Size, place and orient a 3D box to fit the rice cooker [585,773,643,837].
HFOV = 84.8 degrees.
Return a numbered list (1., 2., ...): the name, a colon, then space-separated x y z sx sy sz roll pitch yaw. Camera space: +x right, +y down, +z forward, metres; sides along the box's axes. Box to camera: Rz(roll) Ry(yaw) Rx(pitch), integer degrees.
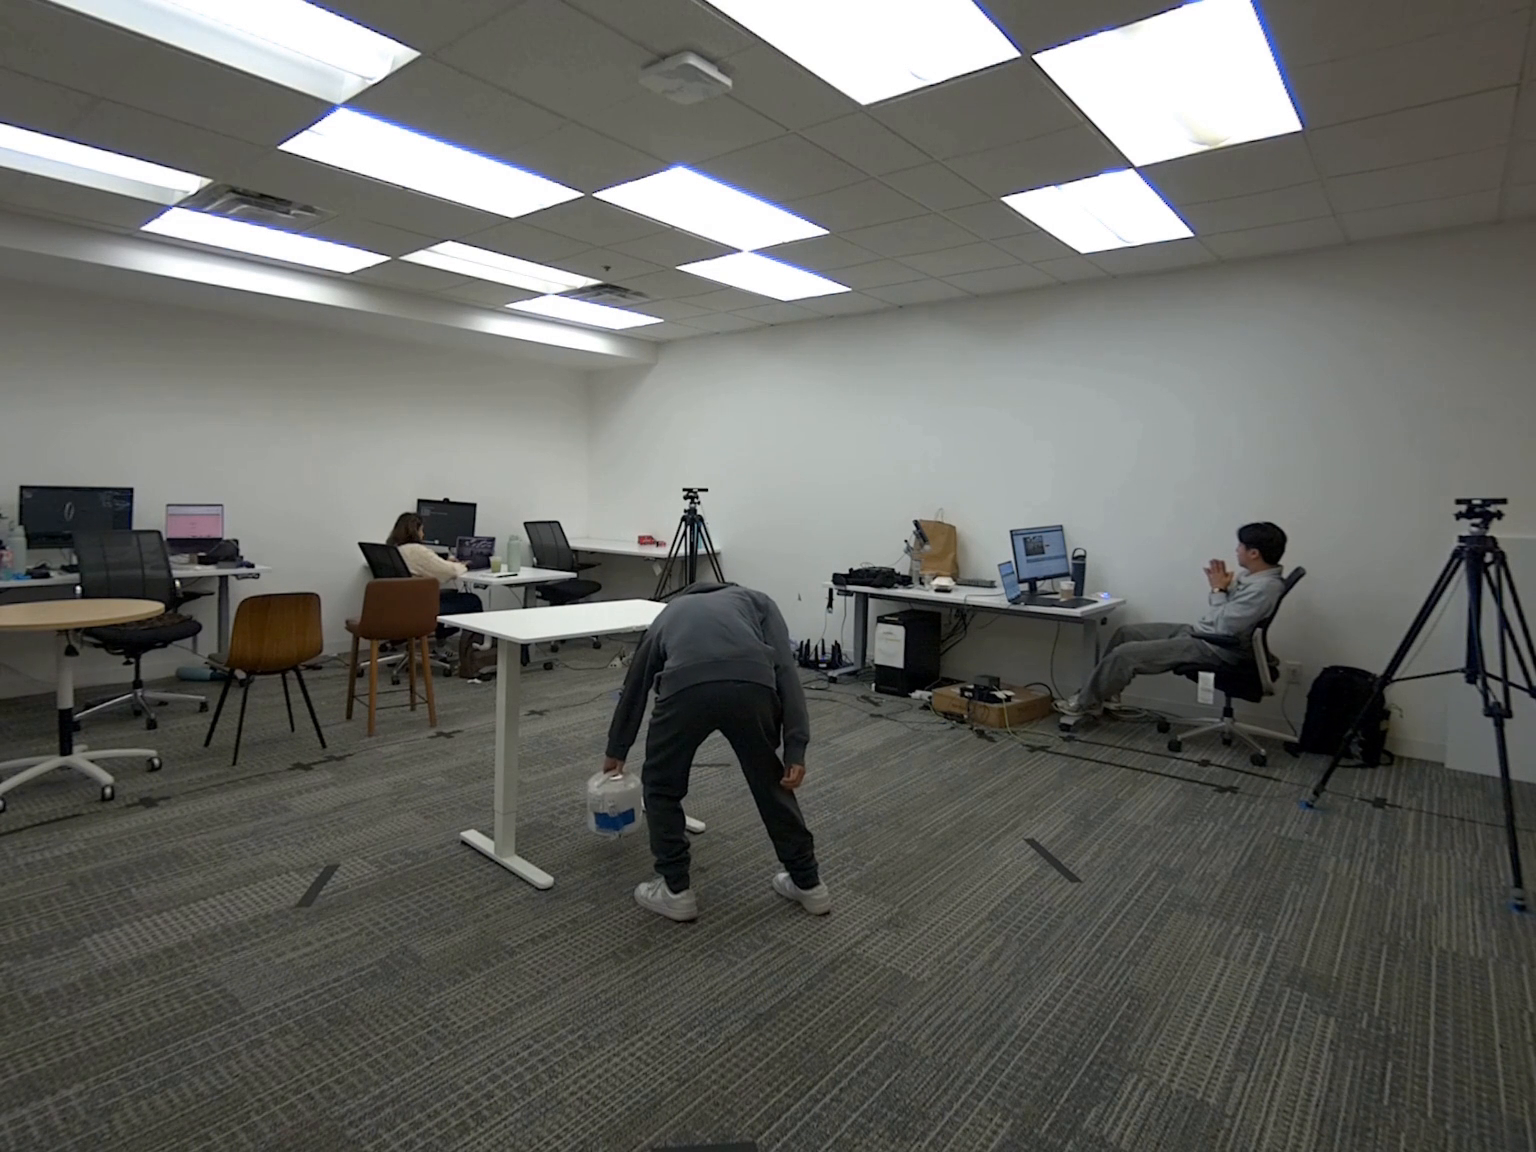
1. rice cooker: -0.596 0.850 3.235 0.225 0.231 0.215 7 8 34
